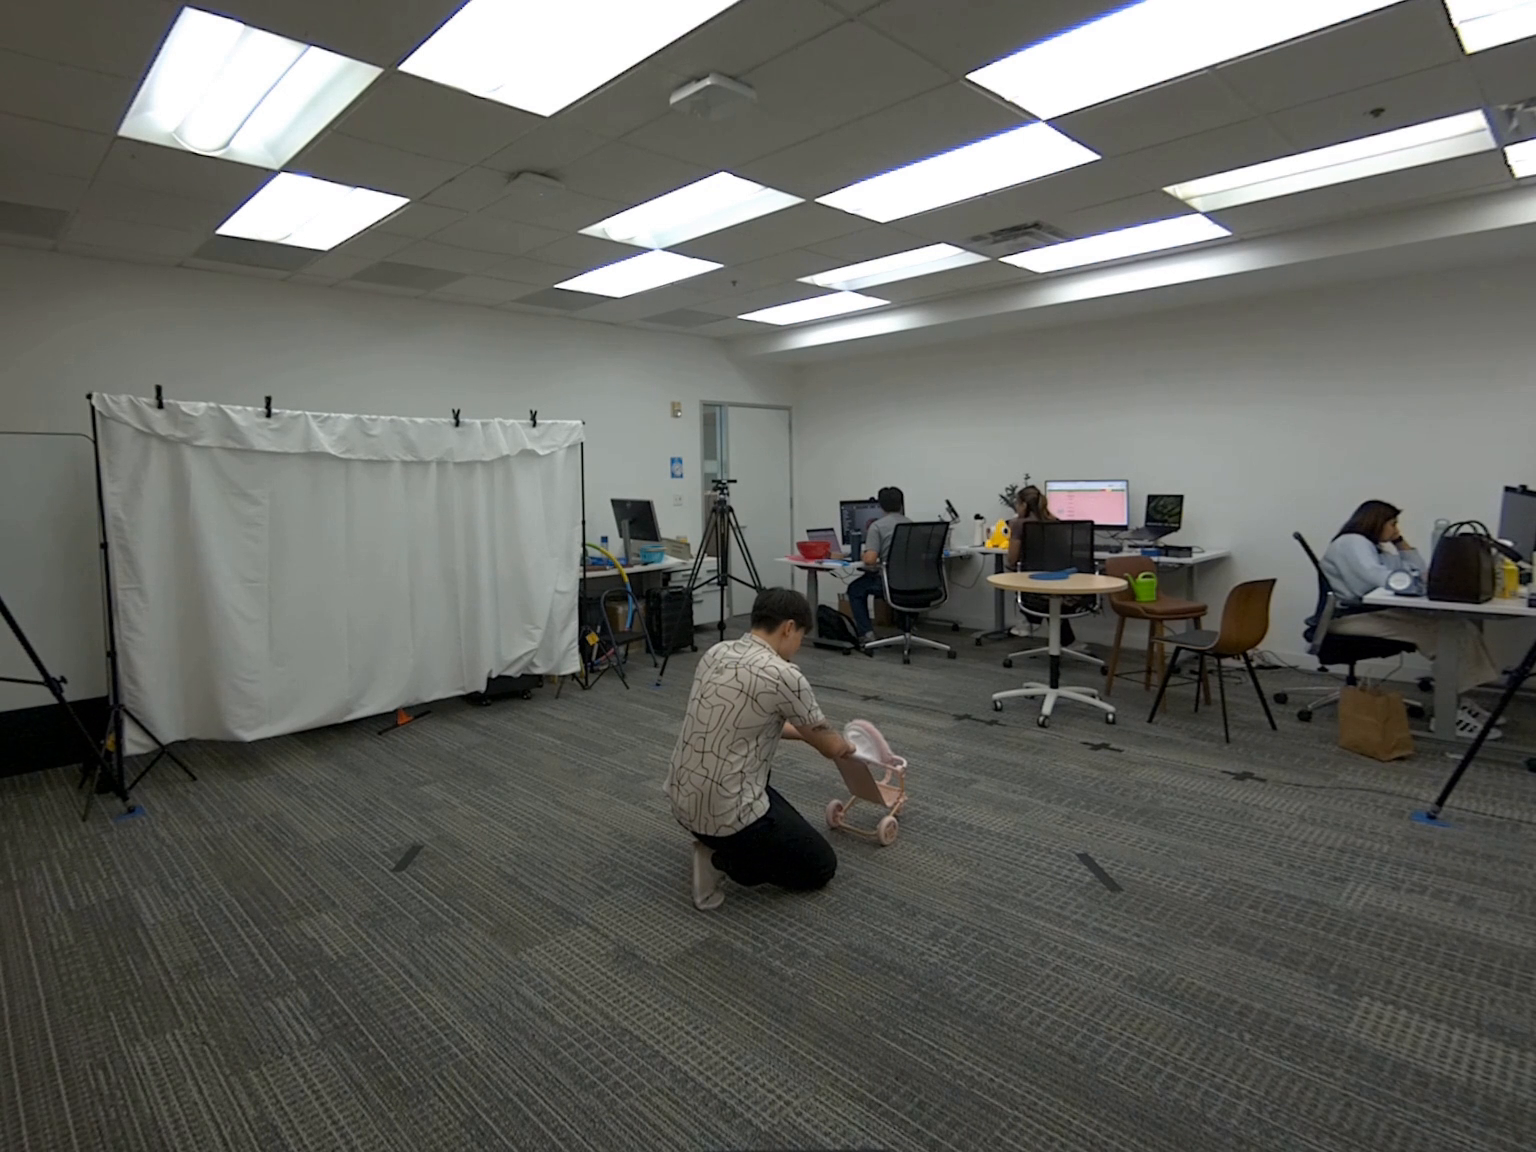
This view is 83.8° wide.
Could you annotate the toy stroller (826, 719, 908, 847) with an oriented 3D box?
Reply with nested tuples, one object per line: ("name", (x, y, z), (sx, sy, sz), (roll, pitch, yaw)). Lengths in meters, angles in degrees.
("toy stroller", (0.396, 0.788, 3.360), (0.290, 0.524, 0.337), (6, 28, 46))
